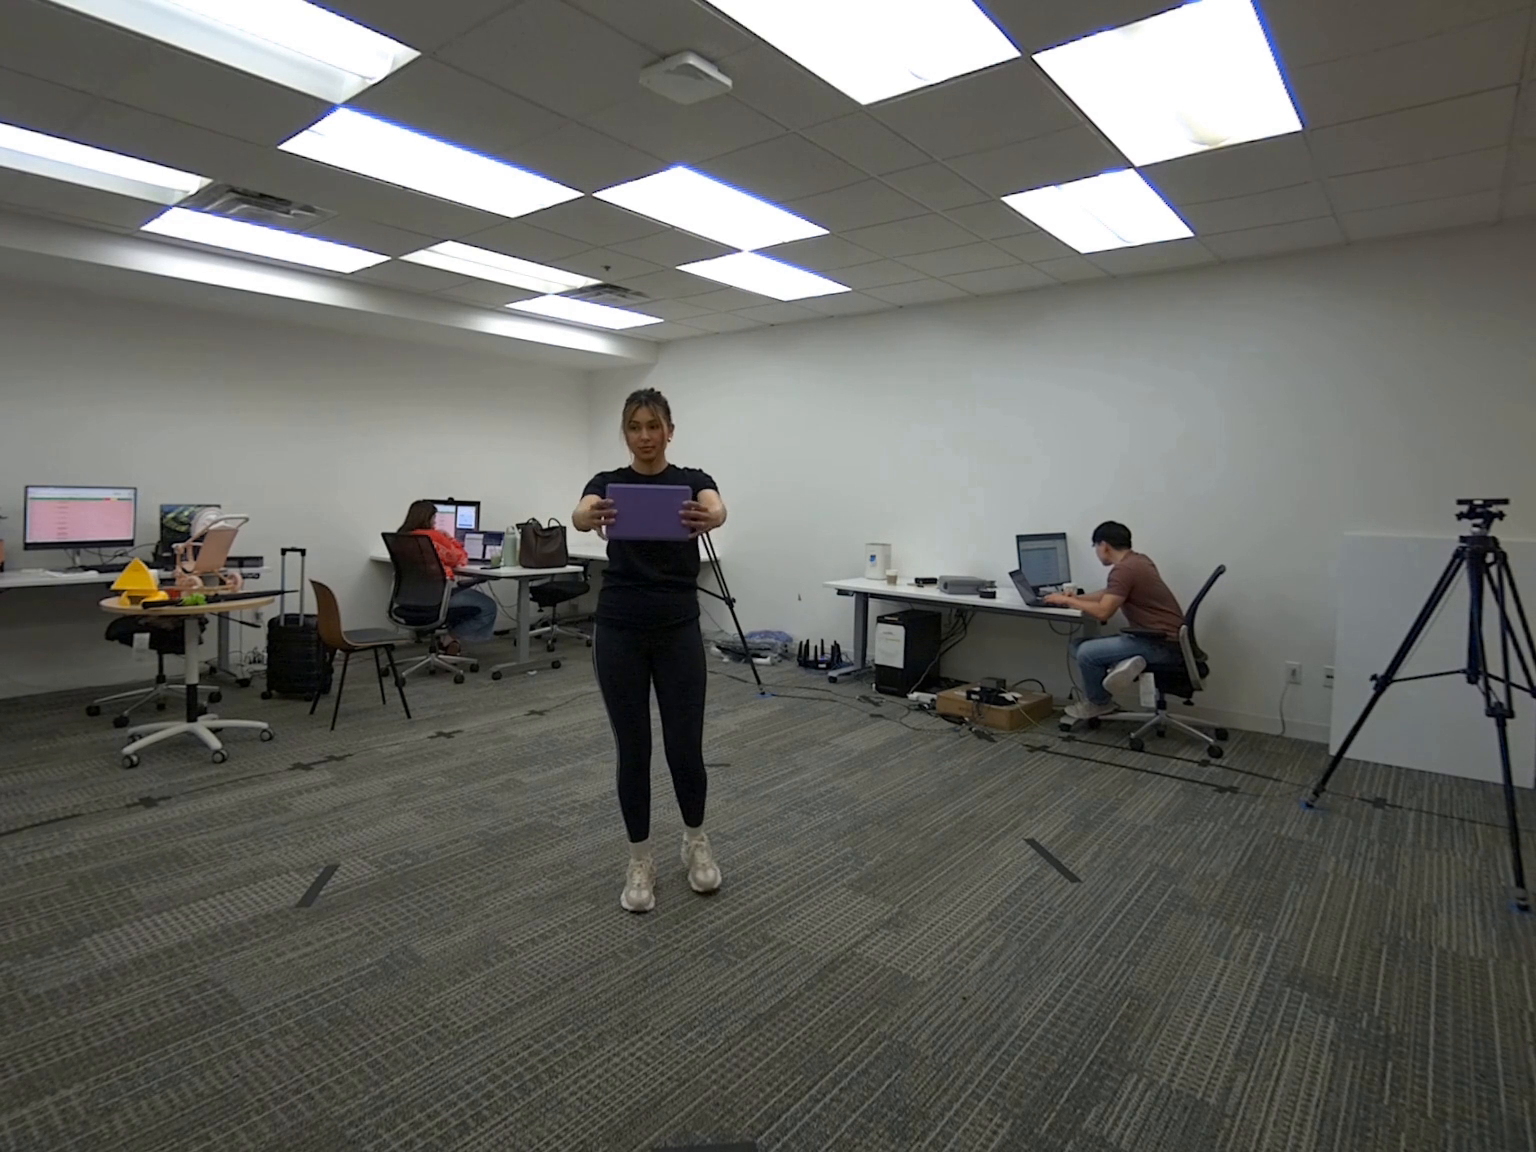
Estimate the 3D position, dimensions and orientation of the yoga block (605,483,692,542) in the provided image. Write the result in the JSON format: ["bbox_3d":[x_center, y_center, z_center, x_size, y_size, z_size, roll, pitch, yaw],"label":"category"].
[{"bbox_3d":[-0.345,-0.175,2.306,0.227,0.148,0.078,2,9,-11],"label":"yoga block"}]
